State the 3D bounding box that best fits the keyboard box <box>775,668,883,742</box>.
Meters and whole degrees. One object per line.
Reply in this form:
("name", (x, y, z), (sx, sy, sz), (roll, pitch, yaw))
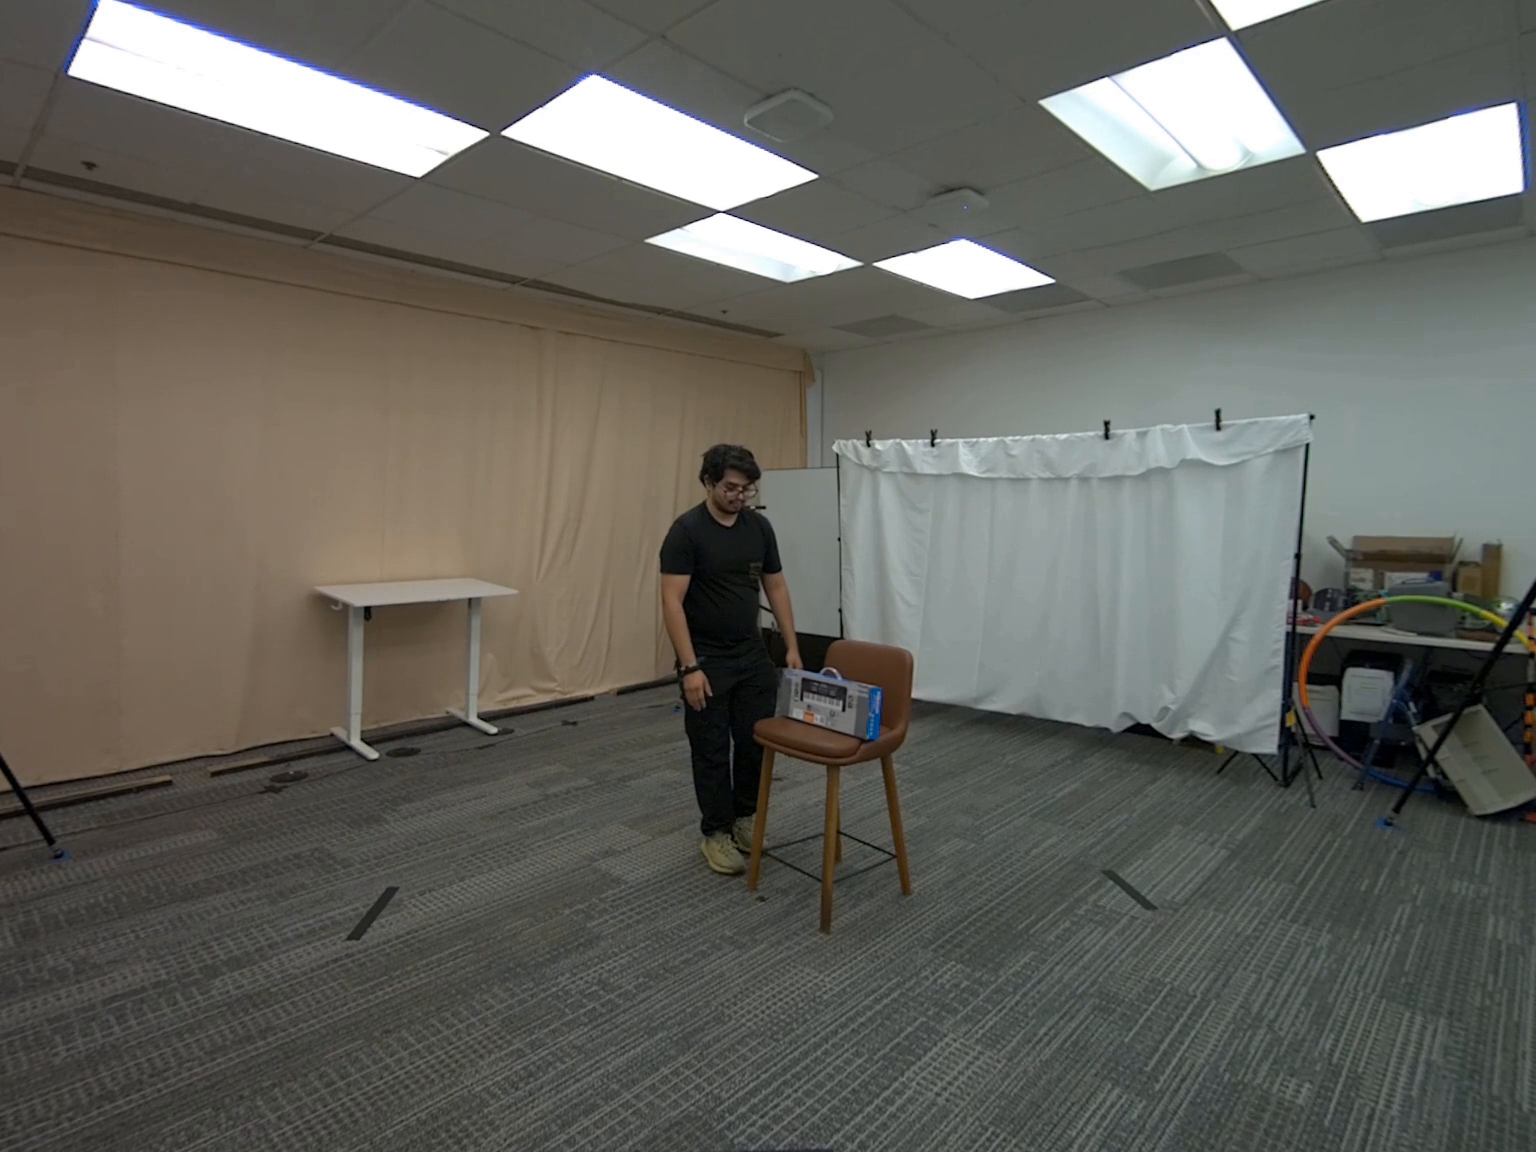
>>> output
("keyboard box", (0.215, 0.443, 2.971), (0.057, 0.176, 0.451), (7, -1, -40))
